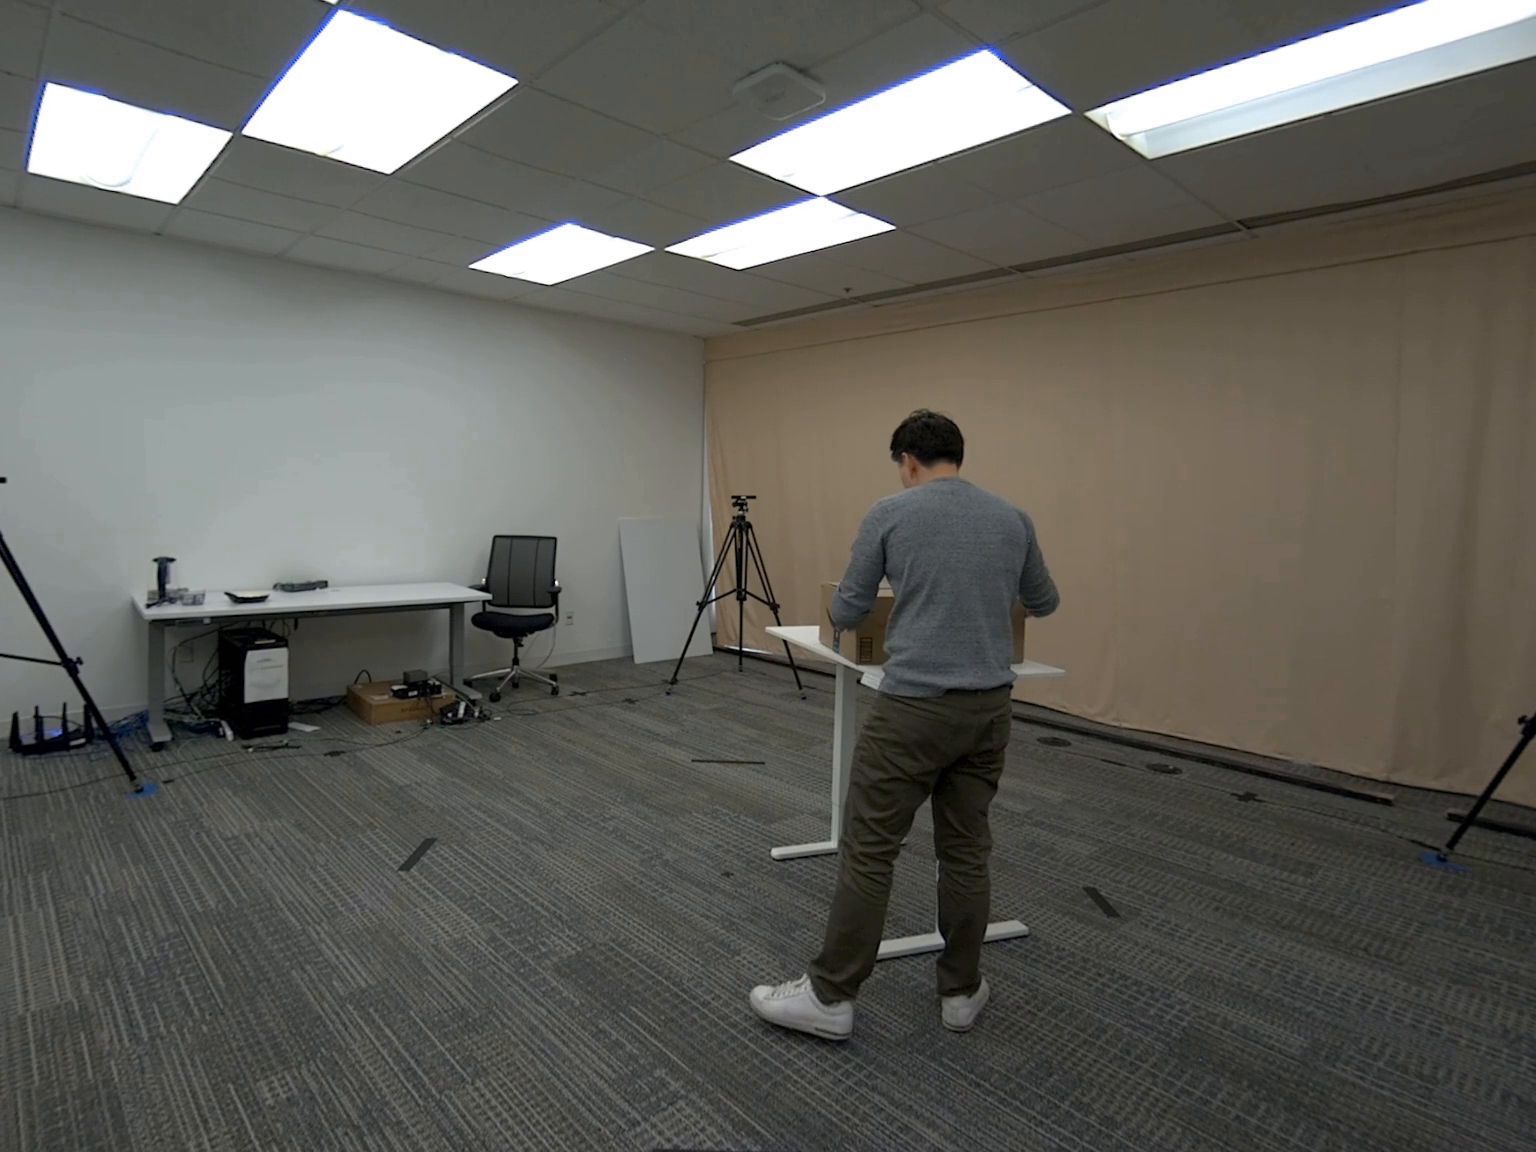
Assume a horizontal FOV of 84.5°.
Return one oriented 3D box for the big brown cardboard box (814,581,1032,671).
[{"bbox_3d":[0.502,0.152,2.841,0.583,0.232,0.423,0,5,-12],"label":"big brown cardboard box"}]
